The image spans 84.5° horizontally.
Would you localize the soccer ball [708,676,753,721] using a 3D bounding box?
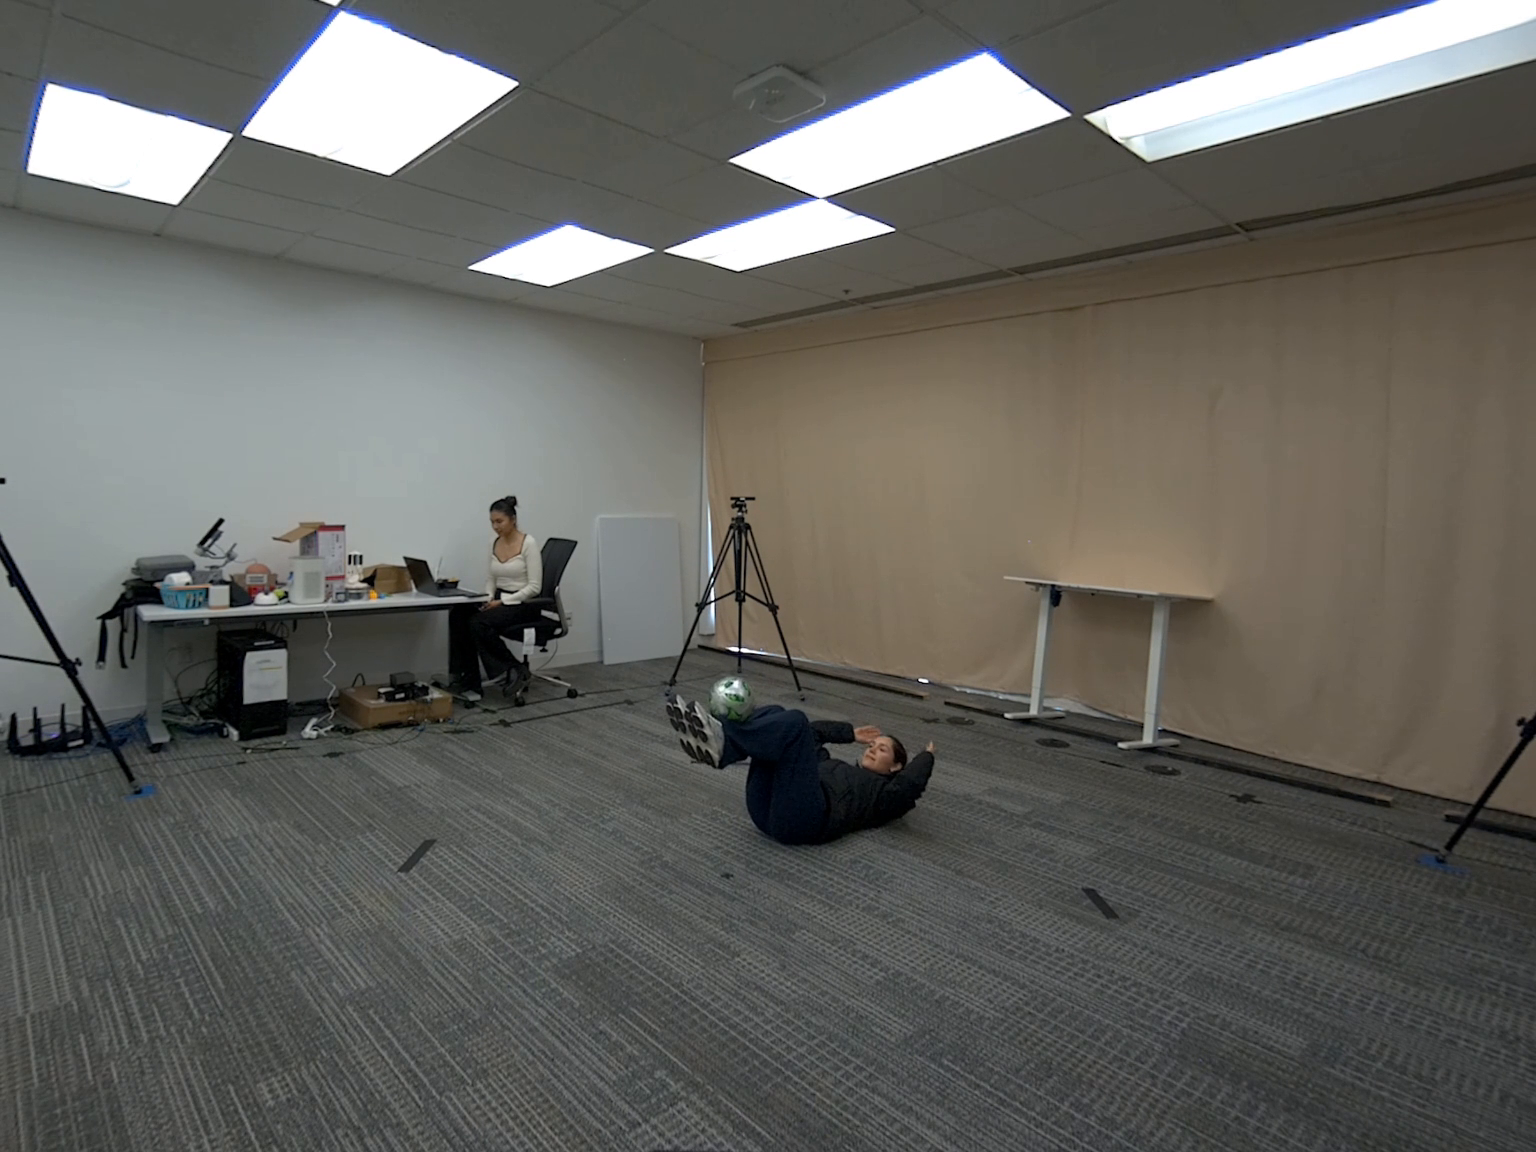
[{"bbox_3d":[-0.149,0.492,3.275,0.187,0.186,0.188,0,7,-1],"label":"soccer ball"}]
